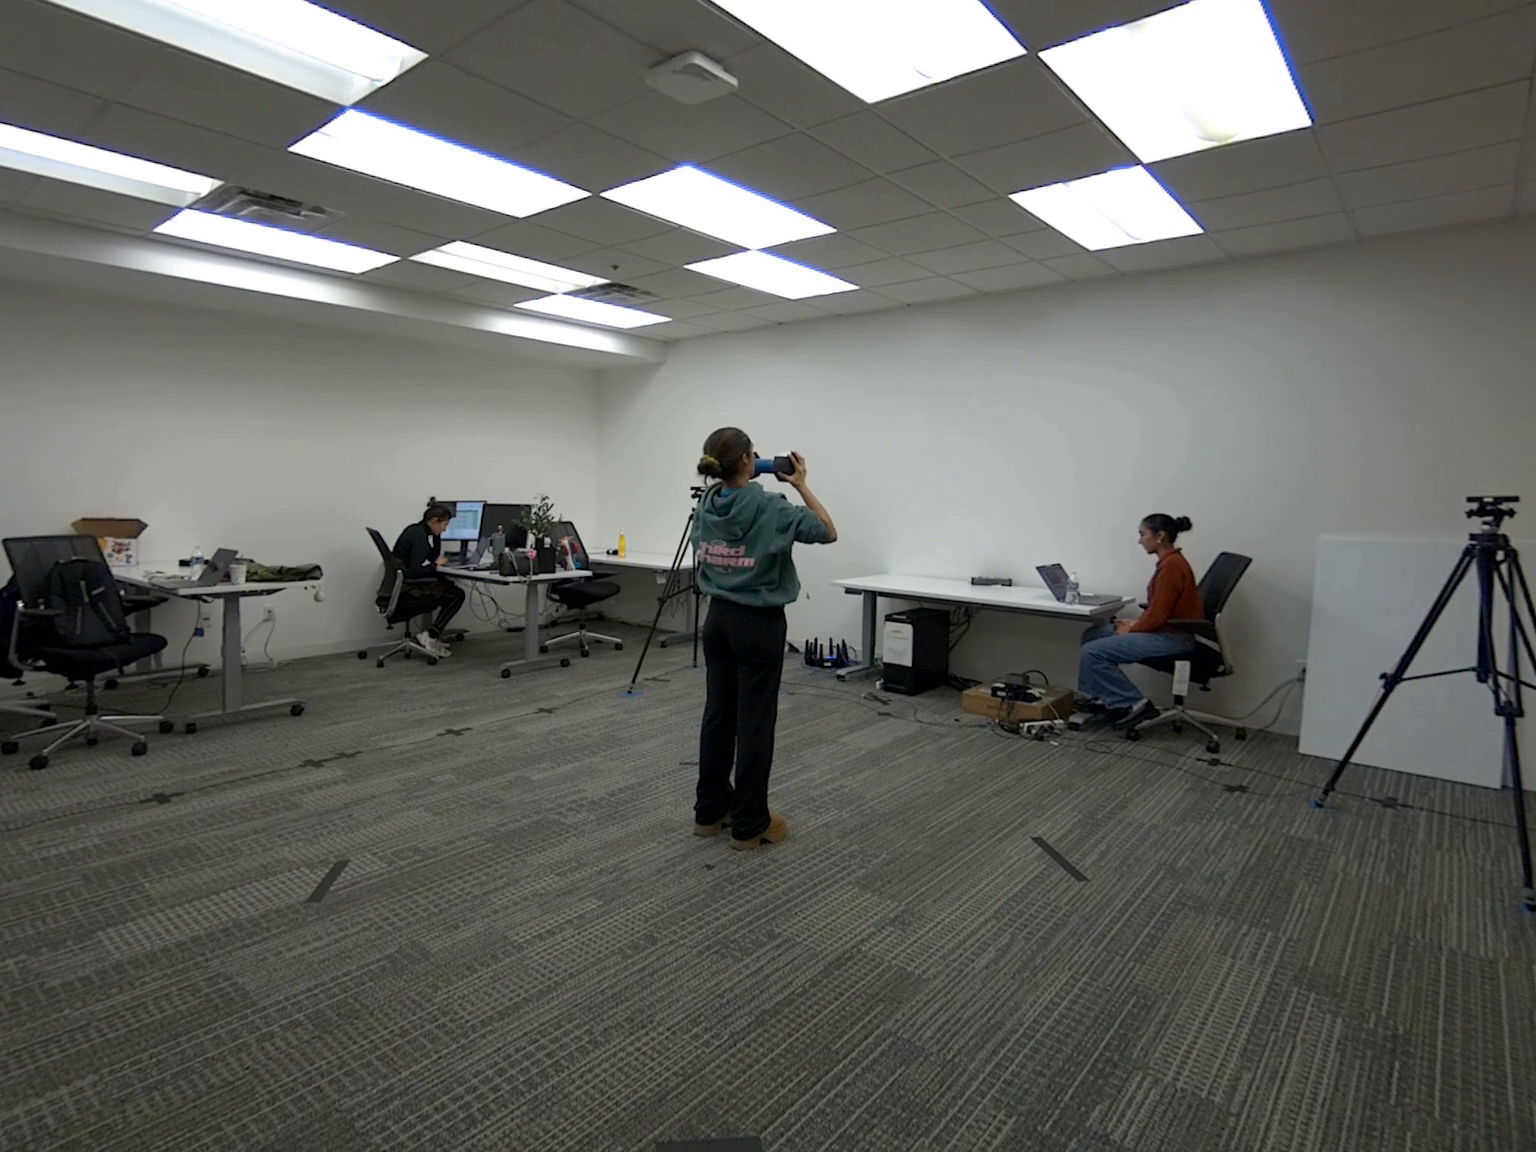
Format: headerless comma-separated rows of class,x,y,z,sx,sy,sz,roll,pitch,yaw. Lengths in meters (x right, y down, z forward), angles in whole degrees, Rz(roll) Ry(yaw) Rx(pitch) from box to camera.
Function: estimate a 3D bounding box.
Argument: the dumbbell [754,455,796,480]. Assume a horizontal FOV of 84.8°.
dumbbell,-0.021,-0.453,3.454,0.304,0.123,0.104,9,-5,41
